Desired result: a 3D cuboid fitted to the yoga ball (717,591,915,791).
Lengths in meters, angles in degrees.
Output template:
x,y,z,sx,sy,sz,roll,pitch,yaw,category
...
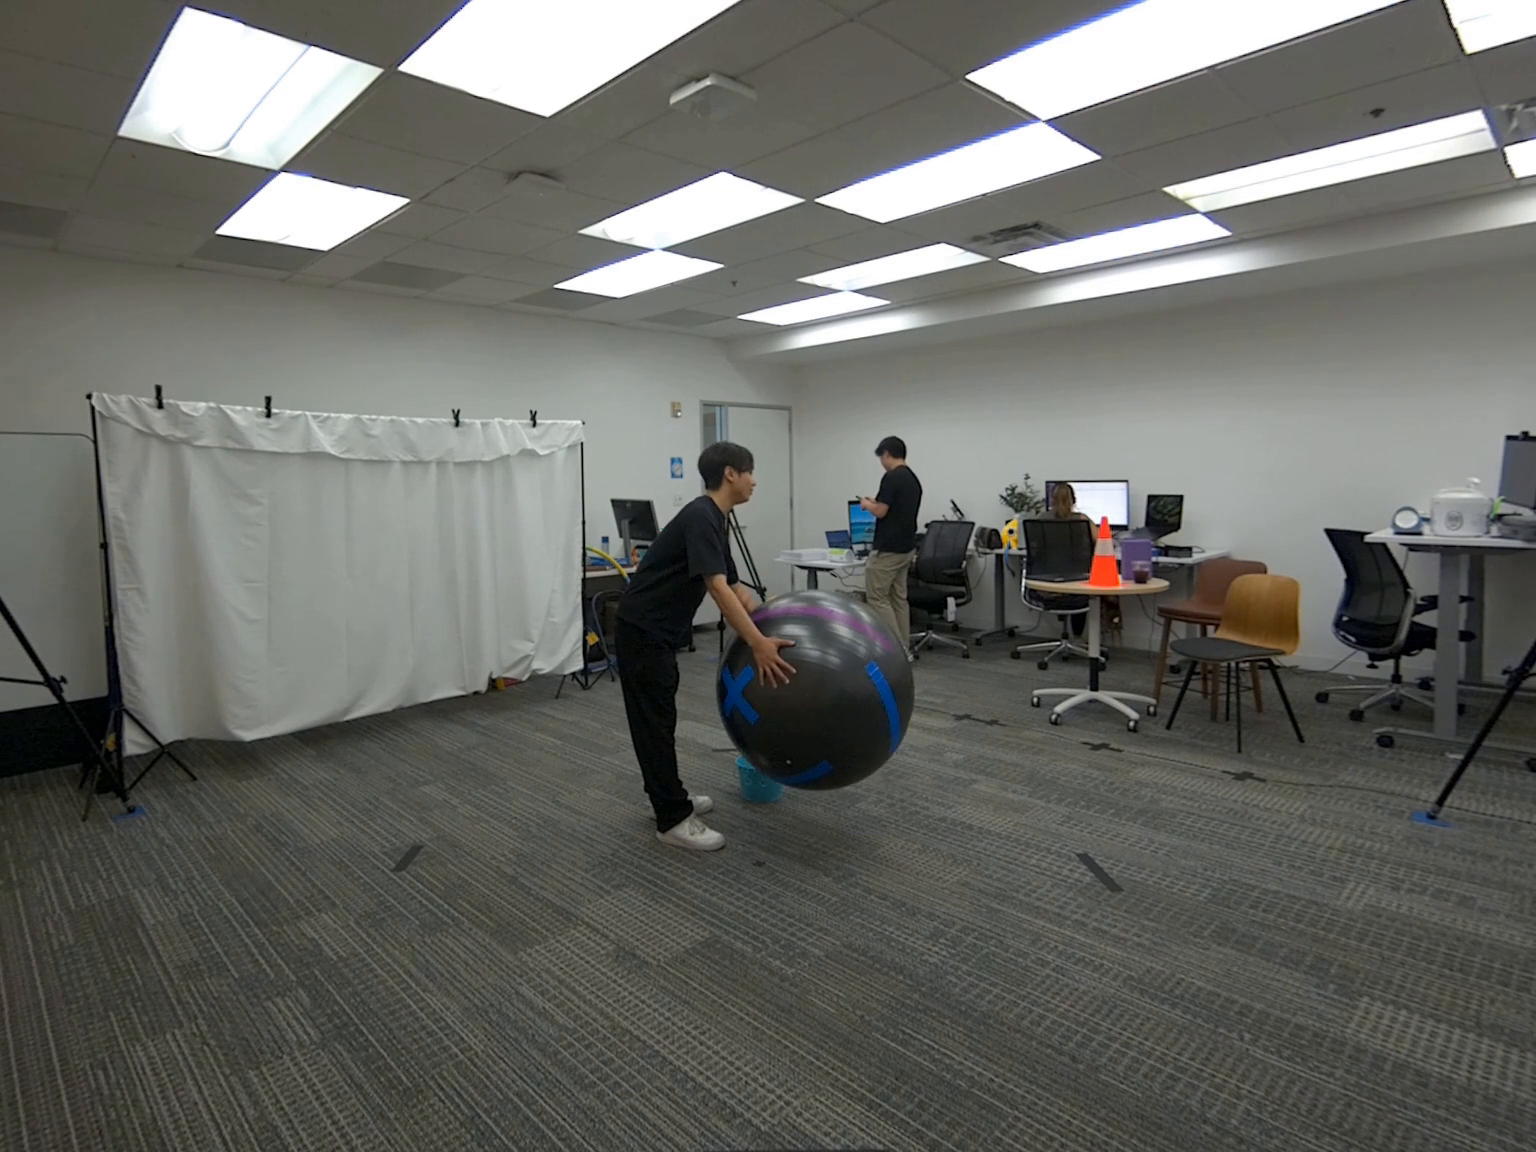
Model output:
x,y,z,sx,sy,sz,roll,pitch,yaw,category
0.178,0.433,3.312,0.757,0.755,0.762,-1,5,-2,yoga ball
